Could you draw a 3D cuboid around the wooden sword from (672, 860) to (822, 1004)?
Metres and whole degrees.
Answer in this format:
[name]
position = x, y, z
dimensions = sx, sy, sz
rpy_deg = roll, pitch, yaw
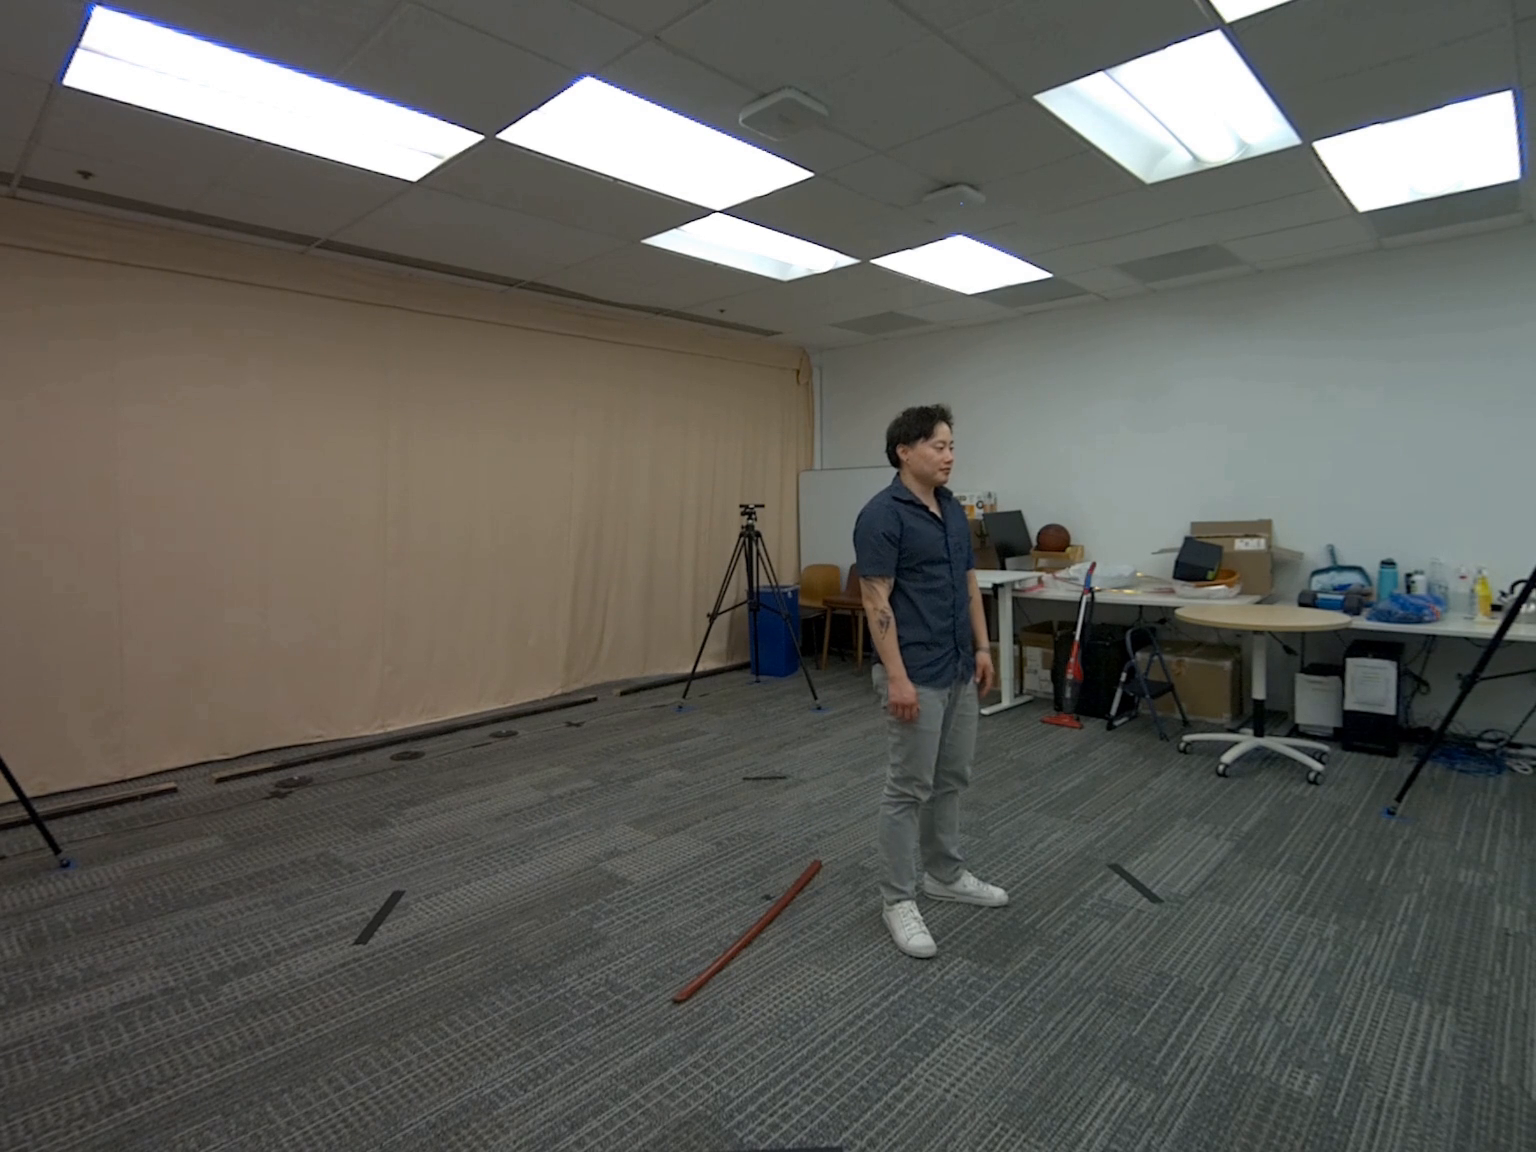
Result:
[wooden sword]
position = -0.020, 1.133, 2.797
dimensions = 0.053, 0.024, 0.999
rpy_deg = 24, 16, 23
